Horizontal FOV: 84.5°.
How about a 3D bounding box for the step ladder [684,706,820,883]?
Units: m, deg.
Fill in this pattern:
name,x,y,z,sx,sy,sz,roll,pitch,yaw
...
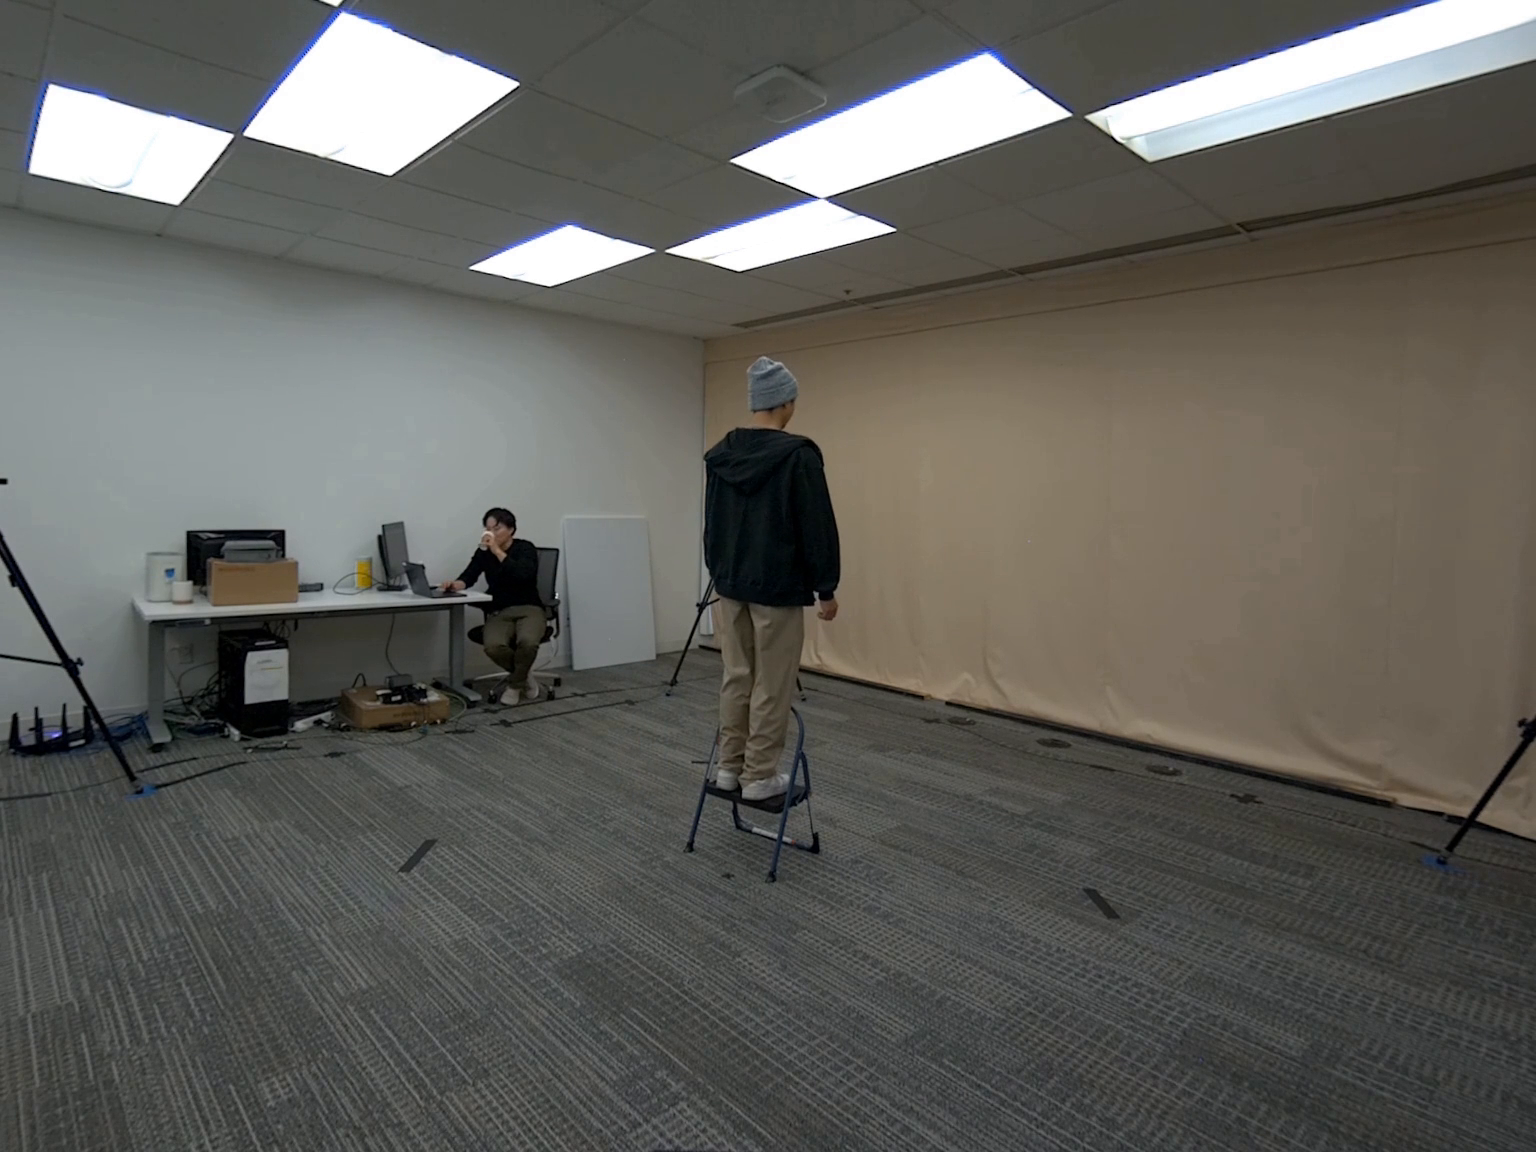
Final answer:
name,x,y,z,sx,sy,sz,roll,pitch,yaw
step ladder,-0.054,0.788,3.307,0.441,0.605,0.341,4,4,36
